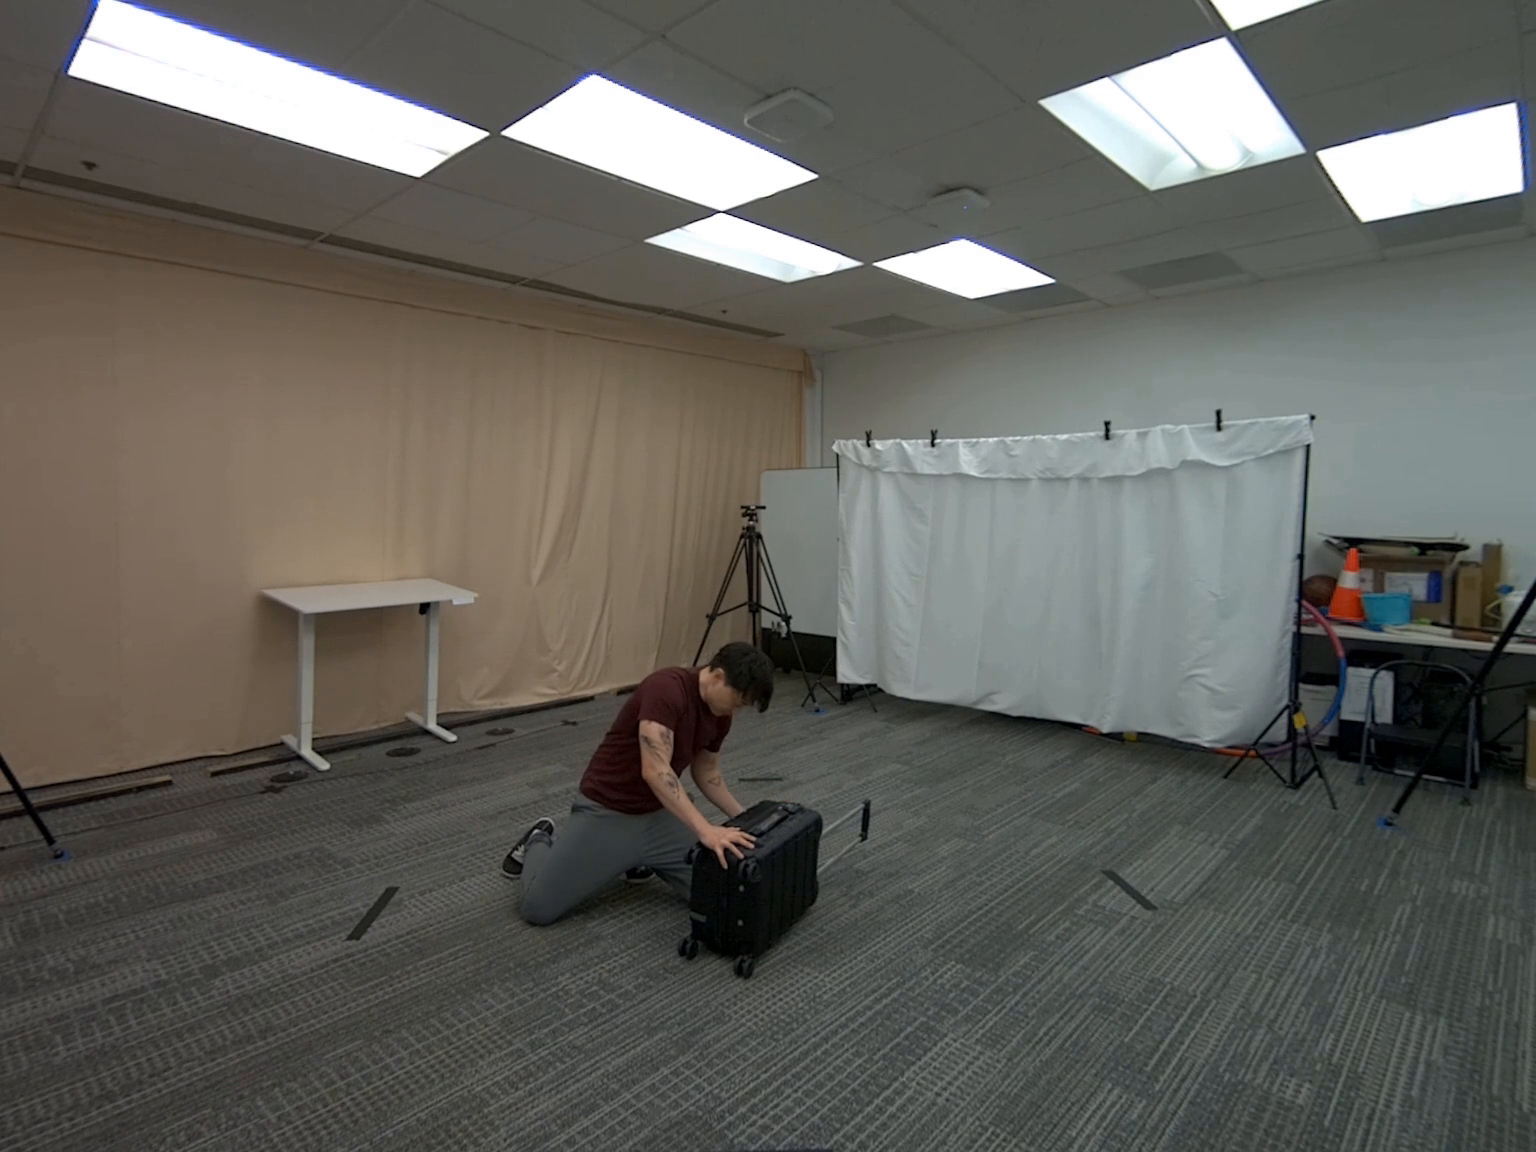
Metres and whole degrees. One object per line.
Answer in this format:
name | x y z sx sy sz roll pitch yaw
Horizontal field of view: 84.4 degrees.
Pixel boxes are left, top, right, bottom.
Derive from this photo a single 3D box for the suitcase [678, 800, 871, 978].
suitcase | 0.078 0.959 2.918 0.264 0.383 0.953 5 6 29
